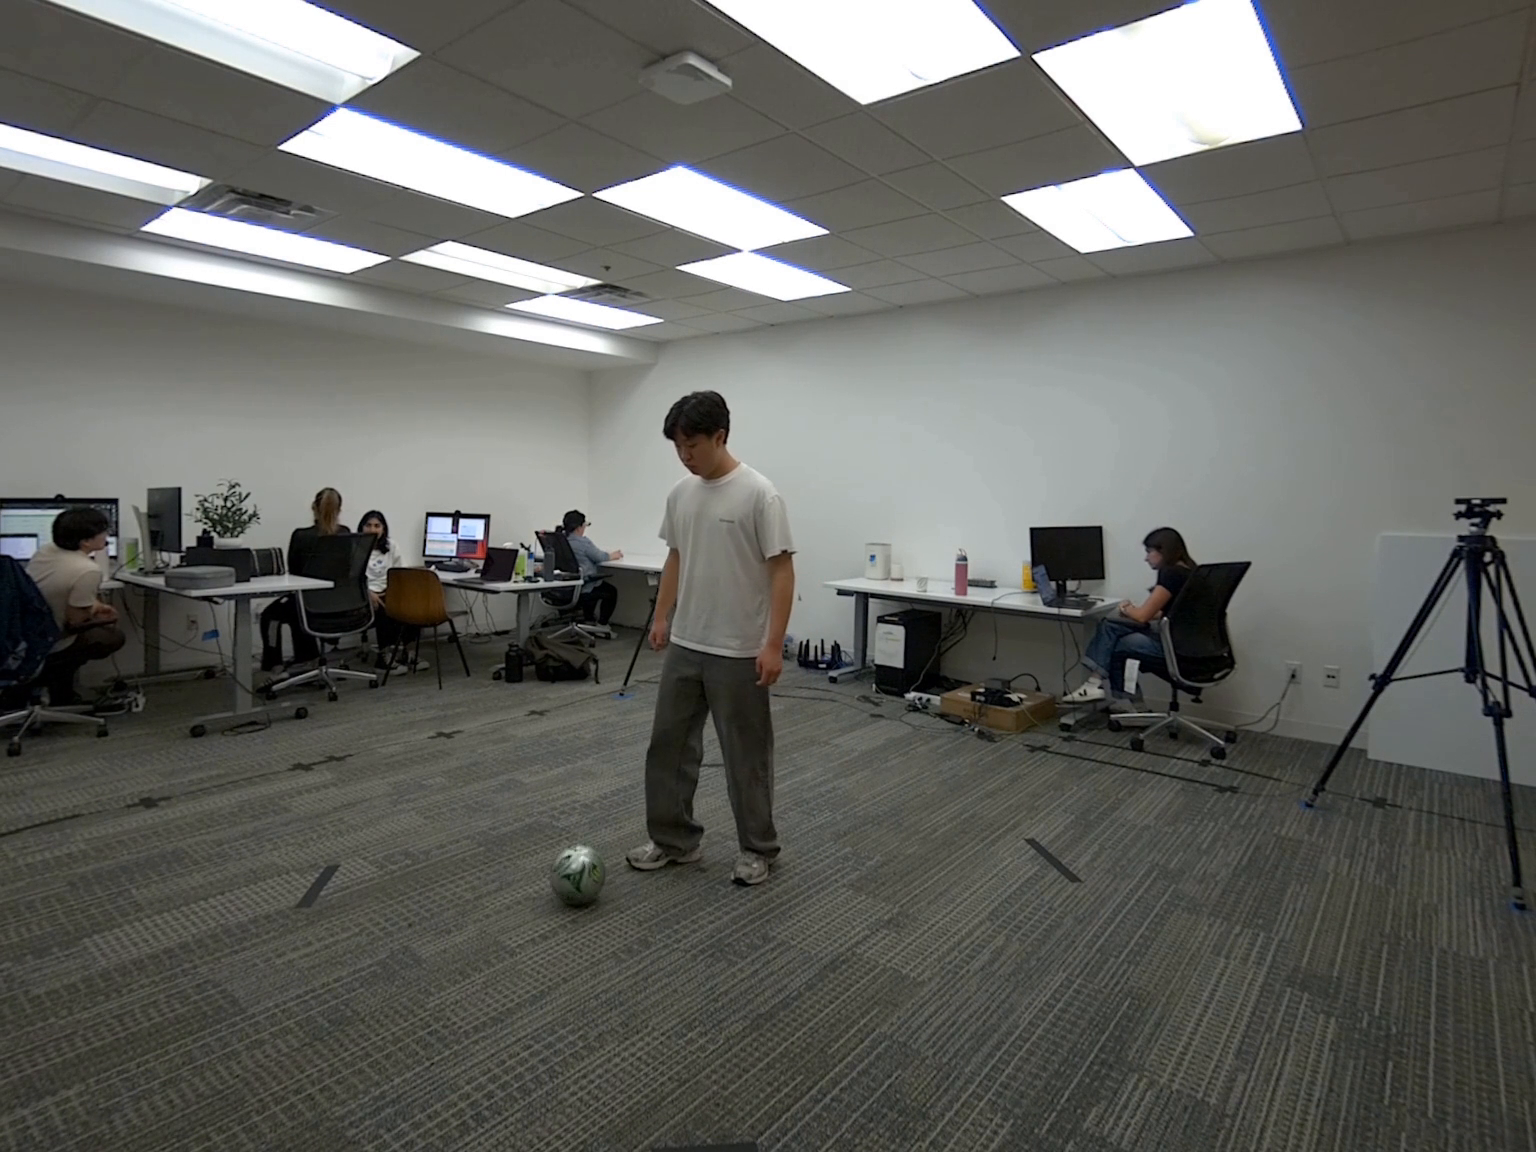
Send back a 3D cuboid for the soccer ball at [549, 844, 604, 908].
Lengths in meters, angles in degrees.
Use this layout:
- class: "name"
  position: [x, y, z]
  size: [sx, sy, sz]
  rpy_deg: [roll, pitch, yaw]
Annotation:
- class: "soccer ball"
  position: [-0.631, 0.989, 2.846]
  size: [0.187, 0.187, 0.188]
  rpy_deg: [1, 4, -2]
